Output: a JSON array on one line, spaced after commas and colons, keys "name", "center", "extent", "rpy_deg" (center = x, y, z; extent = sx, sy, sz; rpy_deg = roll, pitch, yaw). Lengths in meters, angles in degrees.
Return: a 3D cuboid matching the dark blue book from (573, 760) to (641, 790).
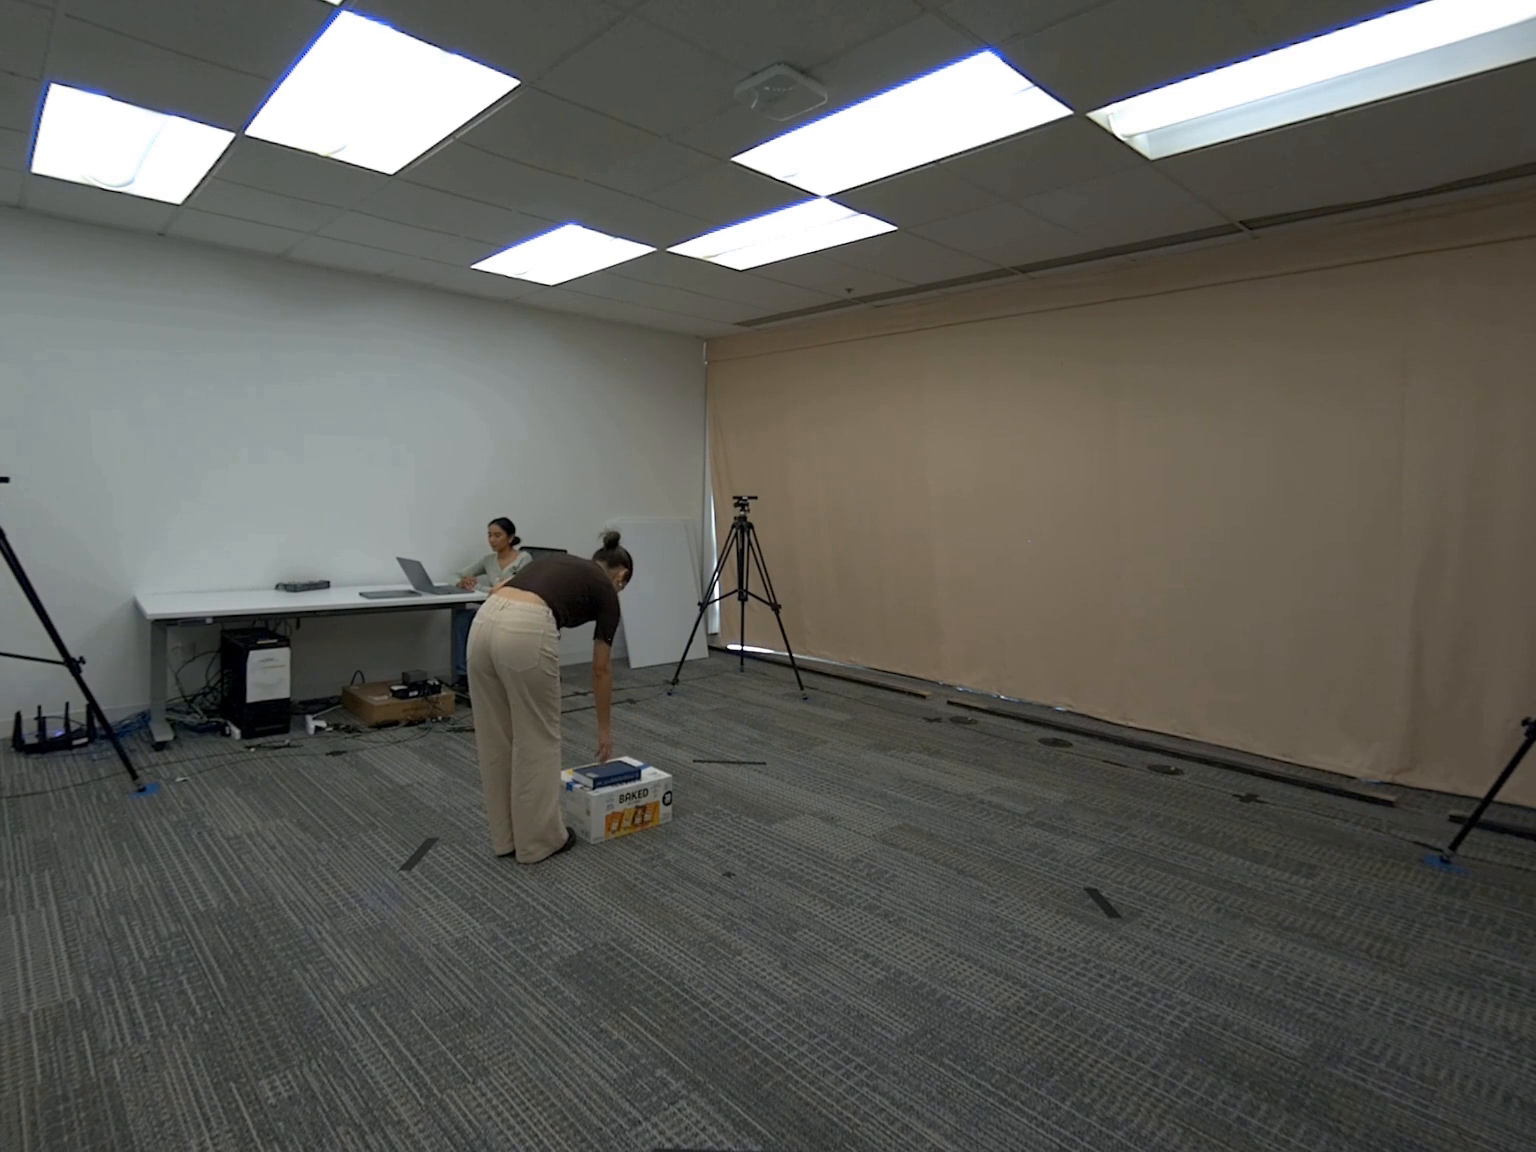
[{"name": "dark blue book", "center": [-0.687, 0.832, 3.538], "extent": [0.239, 0.045, 0.167], "rpy_deg": [-1, 5, -45]}]
